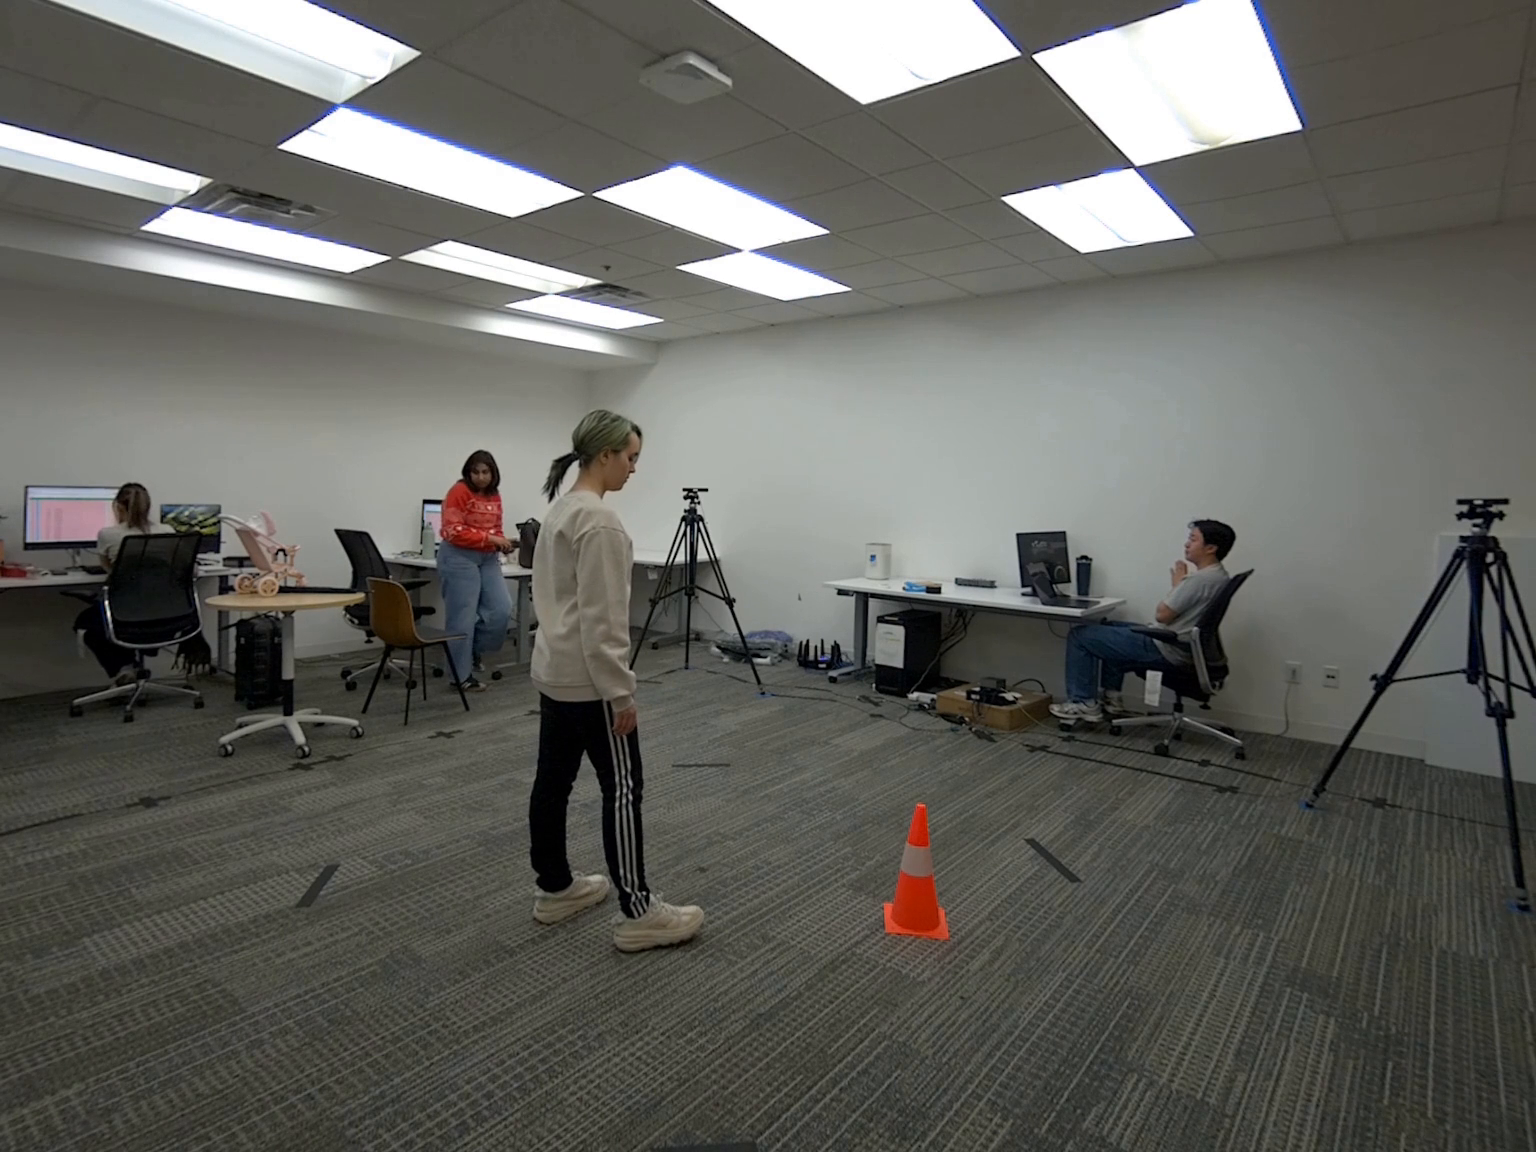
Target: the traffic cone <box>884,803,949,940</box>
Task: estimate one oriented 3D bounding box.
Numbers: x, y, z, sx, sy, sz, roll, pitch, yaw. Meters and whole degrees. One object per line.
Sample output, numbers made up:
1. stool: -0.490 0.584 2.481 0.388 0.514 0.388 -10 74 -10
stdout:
1. traffic cone: 0.485 0.936 2.764 0.207 0.383 0.202 3 3 6
